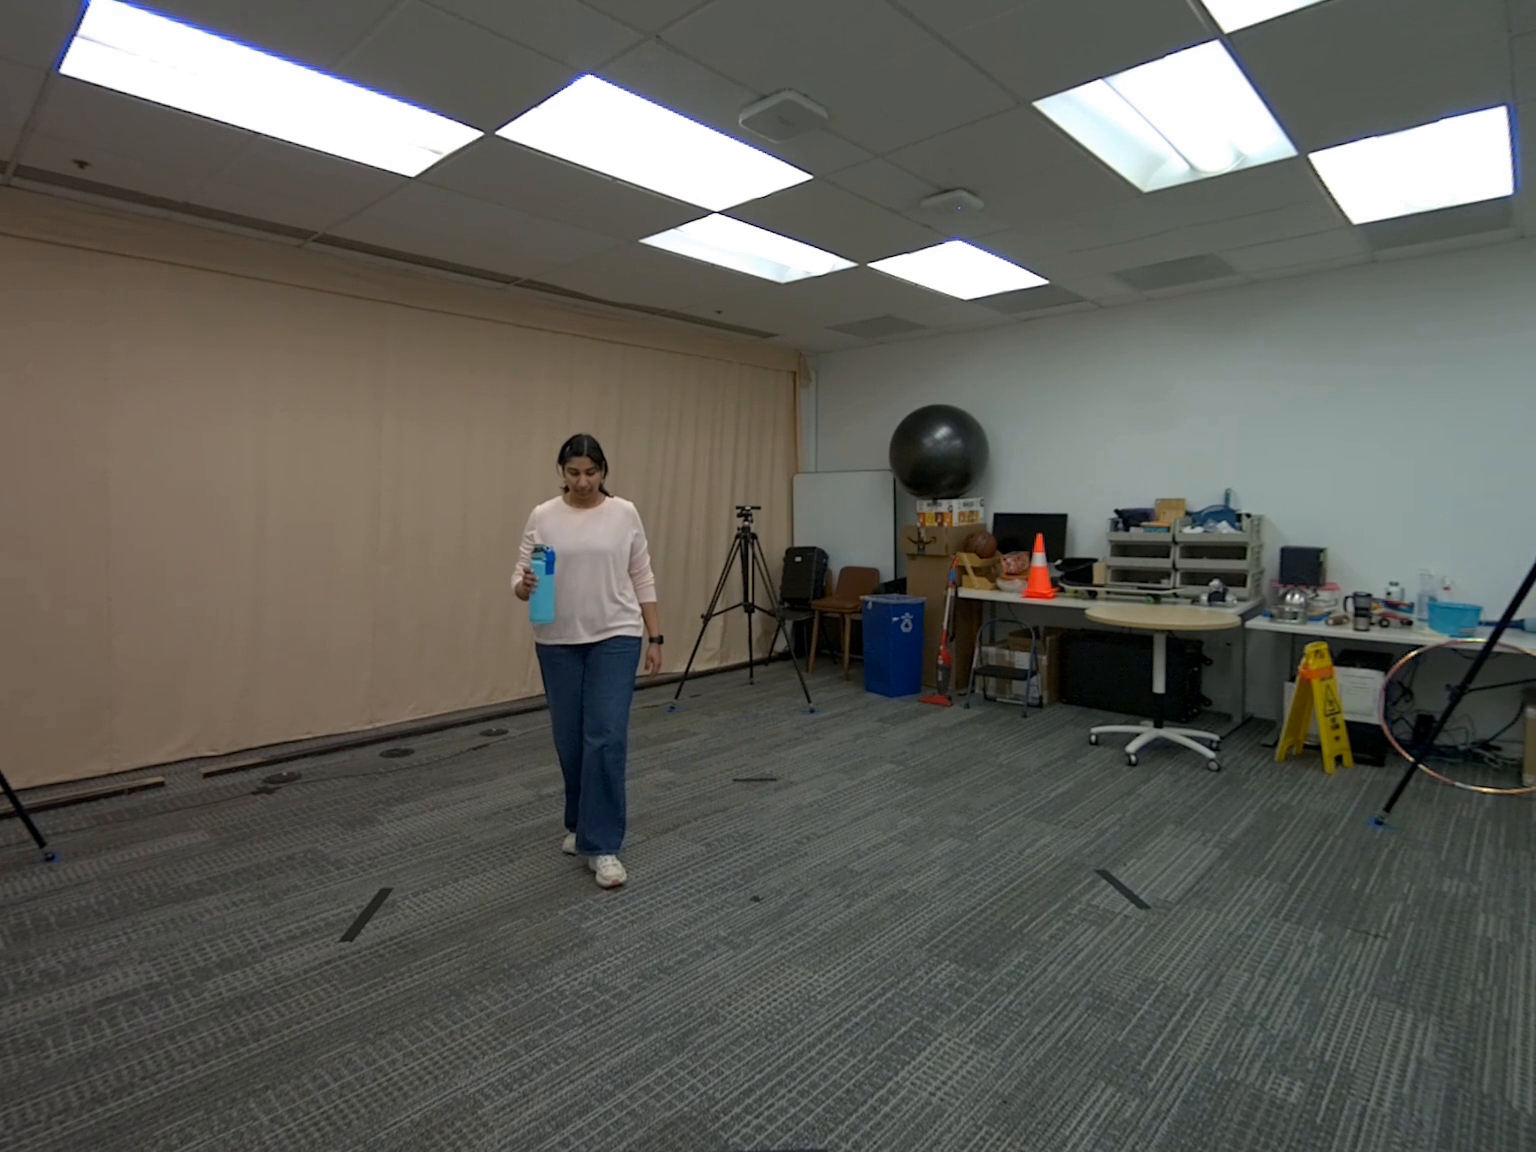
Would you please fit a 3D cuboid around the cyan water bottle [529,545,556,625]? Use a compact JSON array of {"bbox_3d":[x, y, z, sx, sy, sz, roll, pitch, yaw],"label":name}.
[{"bbox_3d":[-0.812,0.024,3.046,0.092,0.282,0.093,3,5,-2],"label":"cyan water bottle"}]
